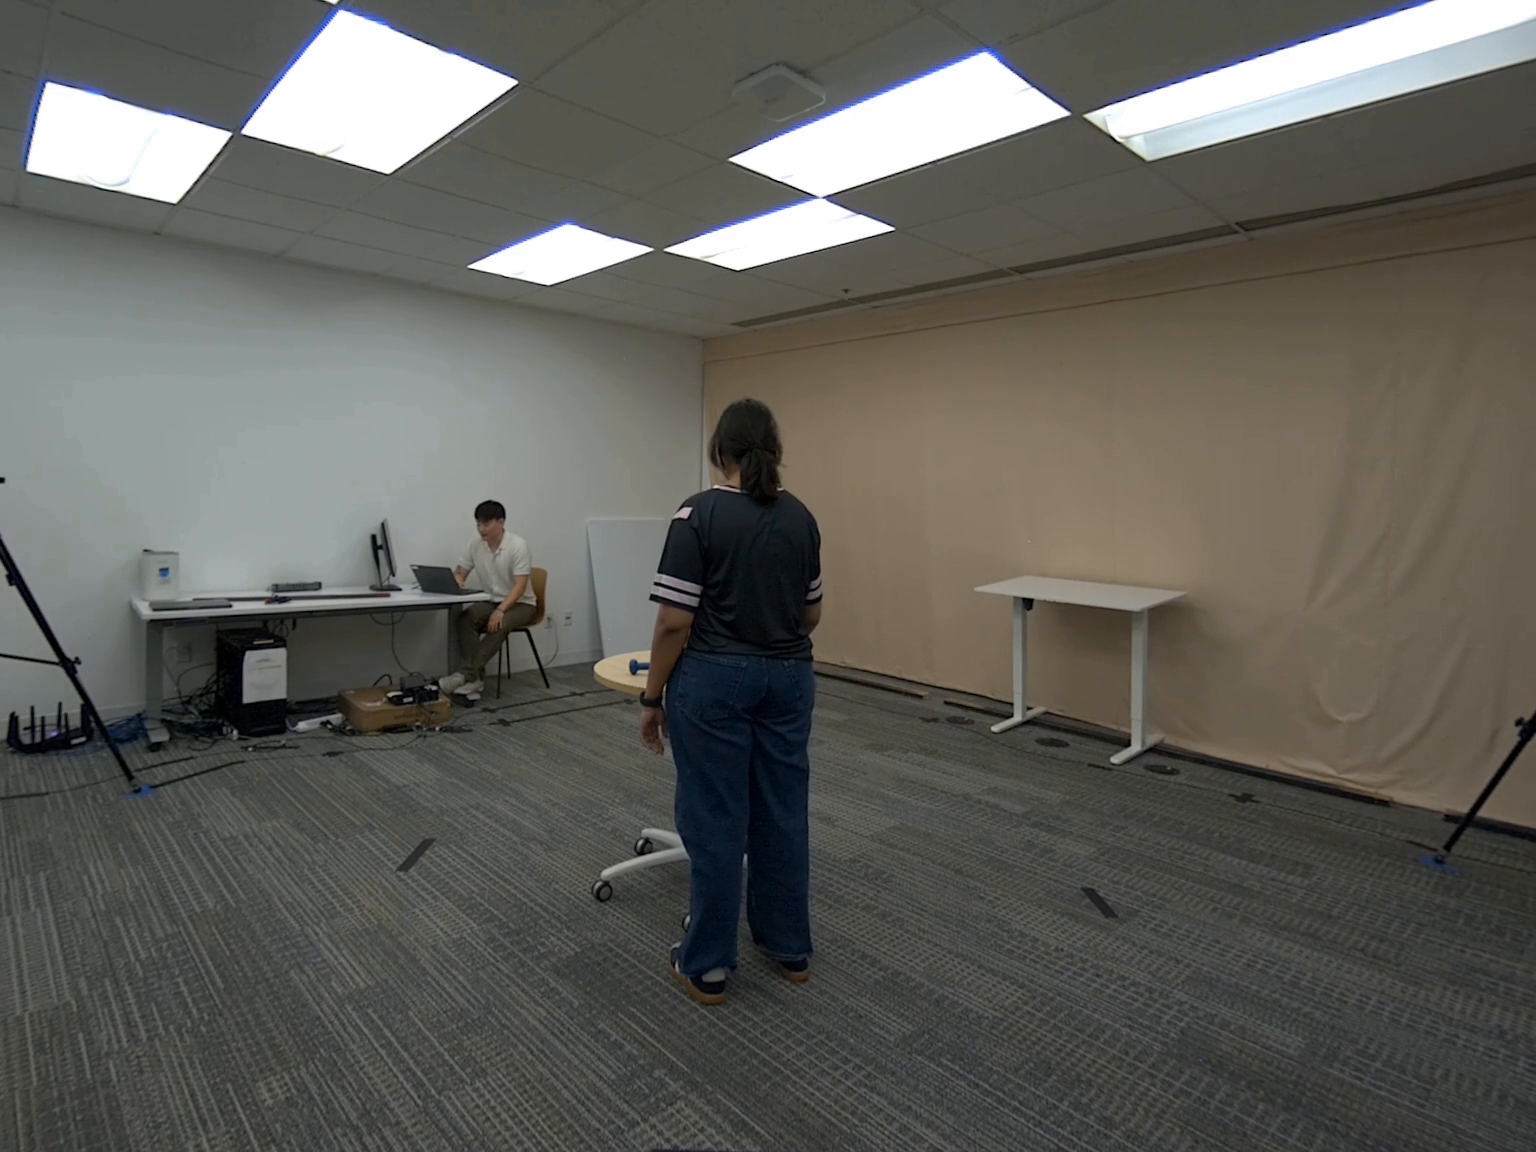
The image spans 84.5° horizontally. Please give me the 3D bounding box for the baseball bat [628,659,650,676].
[{"bbox_3d":[-0.202,0.315,2.821,0.543,0.089,0.089,-1,4,0],"label":"baseball bat"}]
